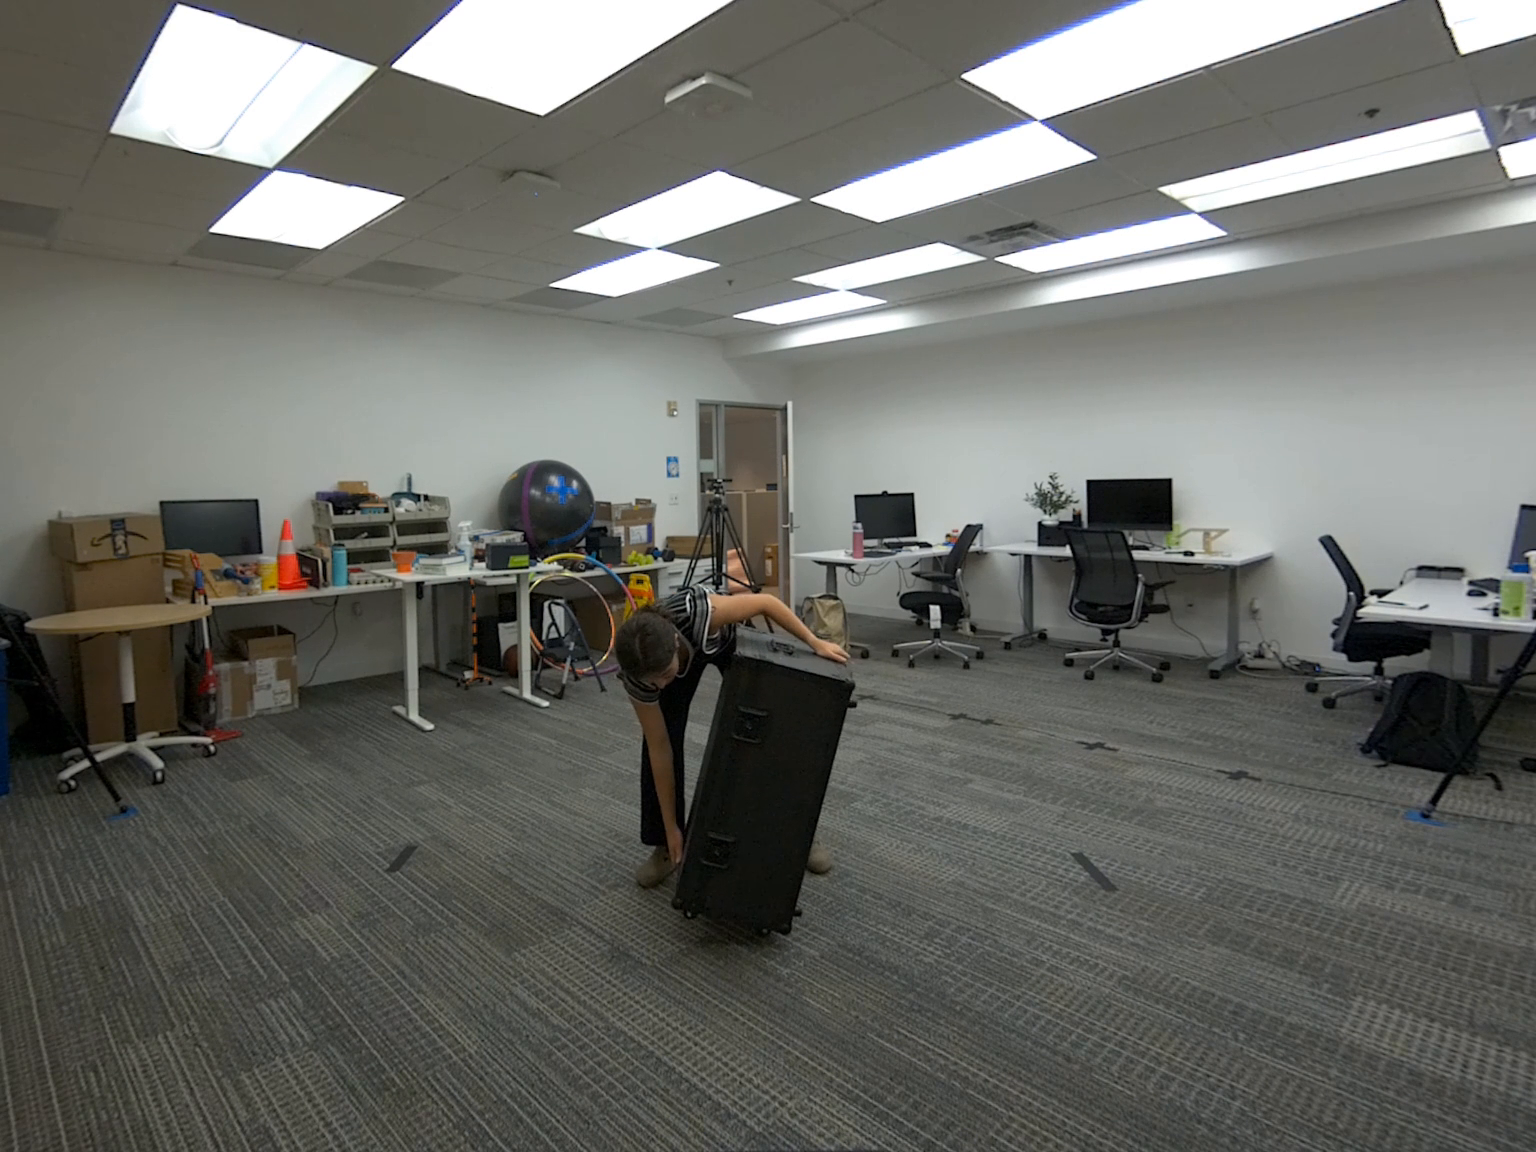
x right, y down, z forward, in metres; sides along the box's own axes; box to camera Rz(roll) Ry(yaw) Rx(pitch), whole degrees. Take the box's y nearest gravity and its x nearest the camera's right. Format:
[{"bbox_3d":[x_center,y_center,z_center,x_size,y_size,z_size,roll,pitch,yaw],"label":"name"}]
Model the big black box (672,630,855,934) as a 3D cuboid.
[{"bbox_3d":[-0.019,0.648,2.730,0.395,0.859,0.524,13,4,-4],"label":"big black box"}]
